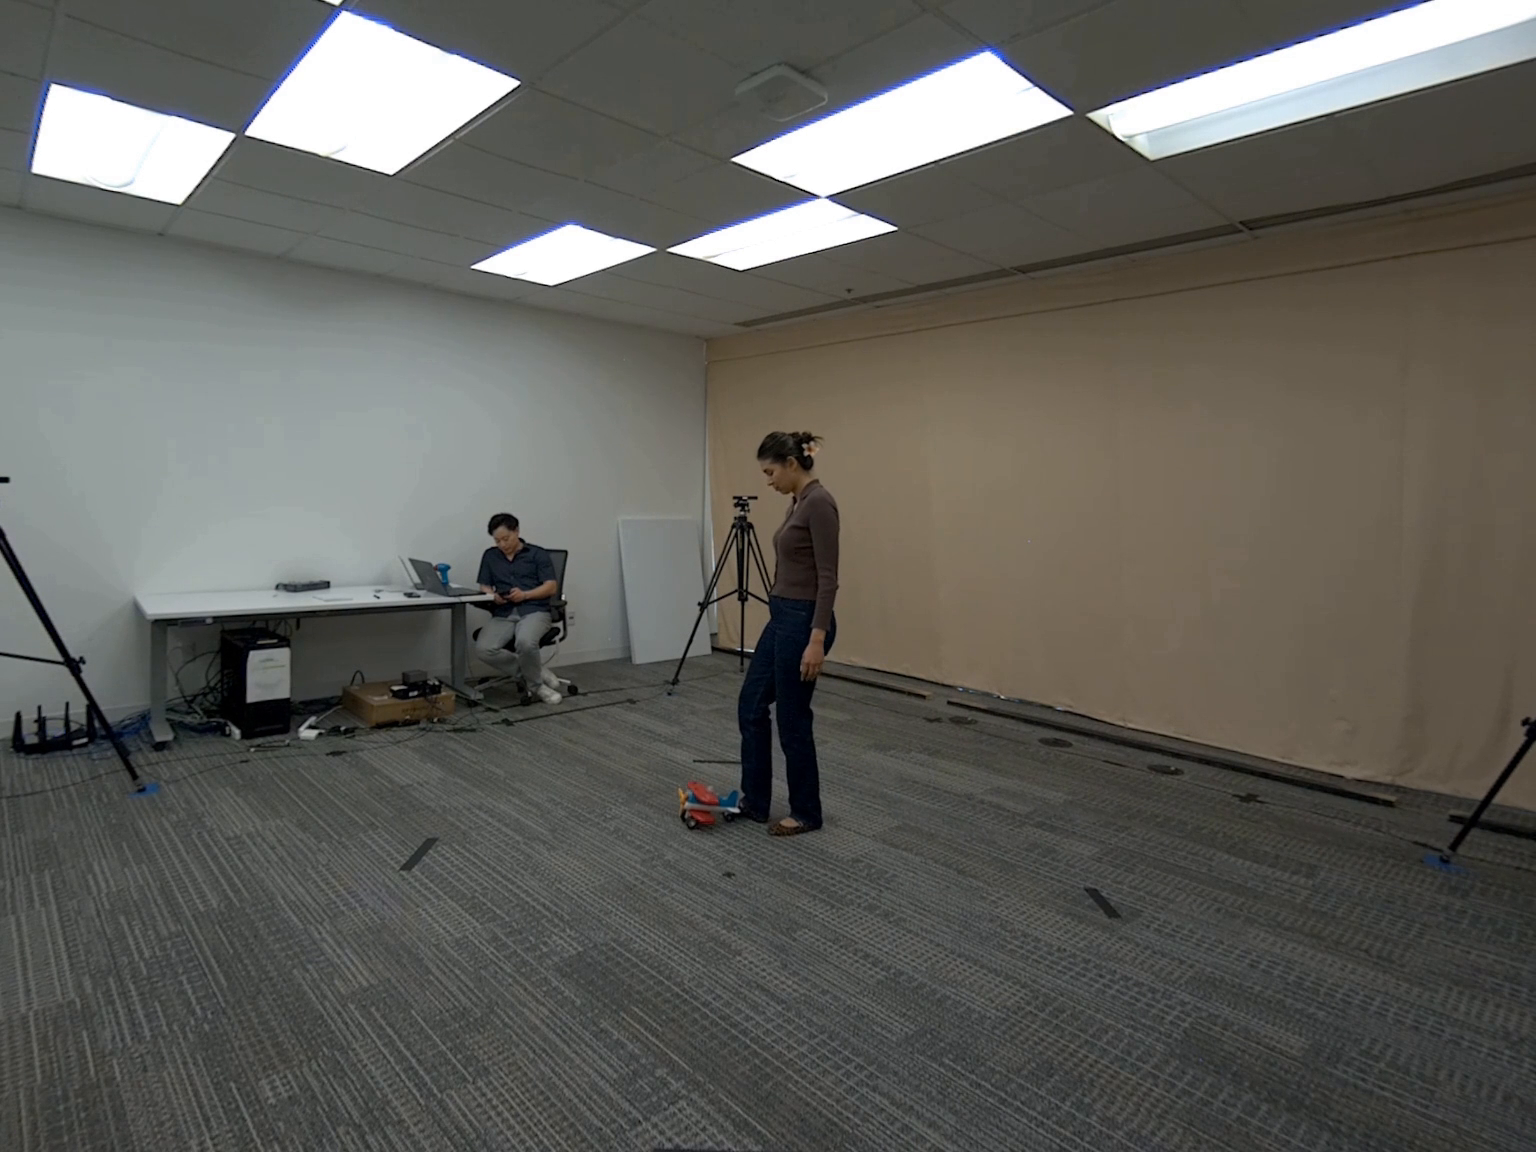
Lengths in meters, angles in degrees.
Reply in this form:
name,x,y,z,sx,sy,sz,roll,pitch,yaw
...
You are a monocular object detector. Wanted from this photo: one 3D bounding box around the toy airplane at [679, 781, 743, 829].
name,x,y,z,sx,sy,sz,roll,pitch,yaw
toy airplane,-0.273,0.980,3.609,0.257,0.156,0.254,4,7,41
